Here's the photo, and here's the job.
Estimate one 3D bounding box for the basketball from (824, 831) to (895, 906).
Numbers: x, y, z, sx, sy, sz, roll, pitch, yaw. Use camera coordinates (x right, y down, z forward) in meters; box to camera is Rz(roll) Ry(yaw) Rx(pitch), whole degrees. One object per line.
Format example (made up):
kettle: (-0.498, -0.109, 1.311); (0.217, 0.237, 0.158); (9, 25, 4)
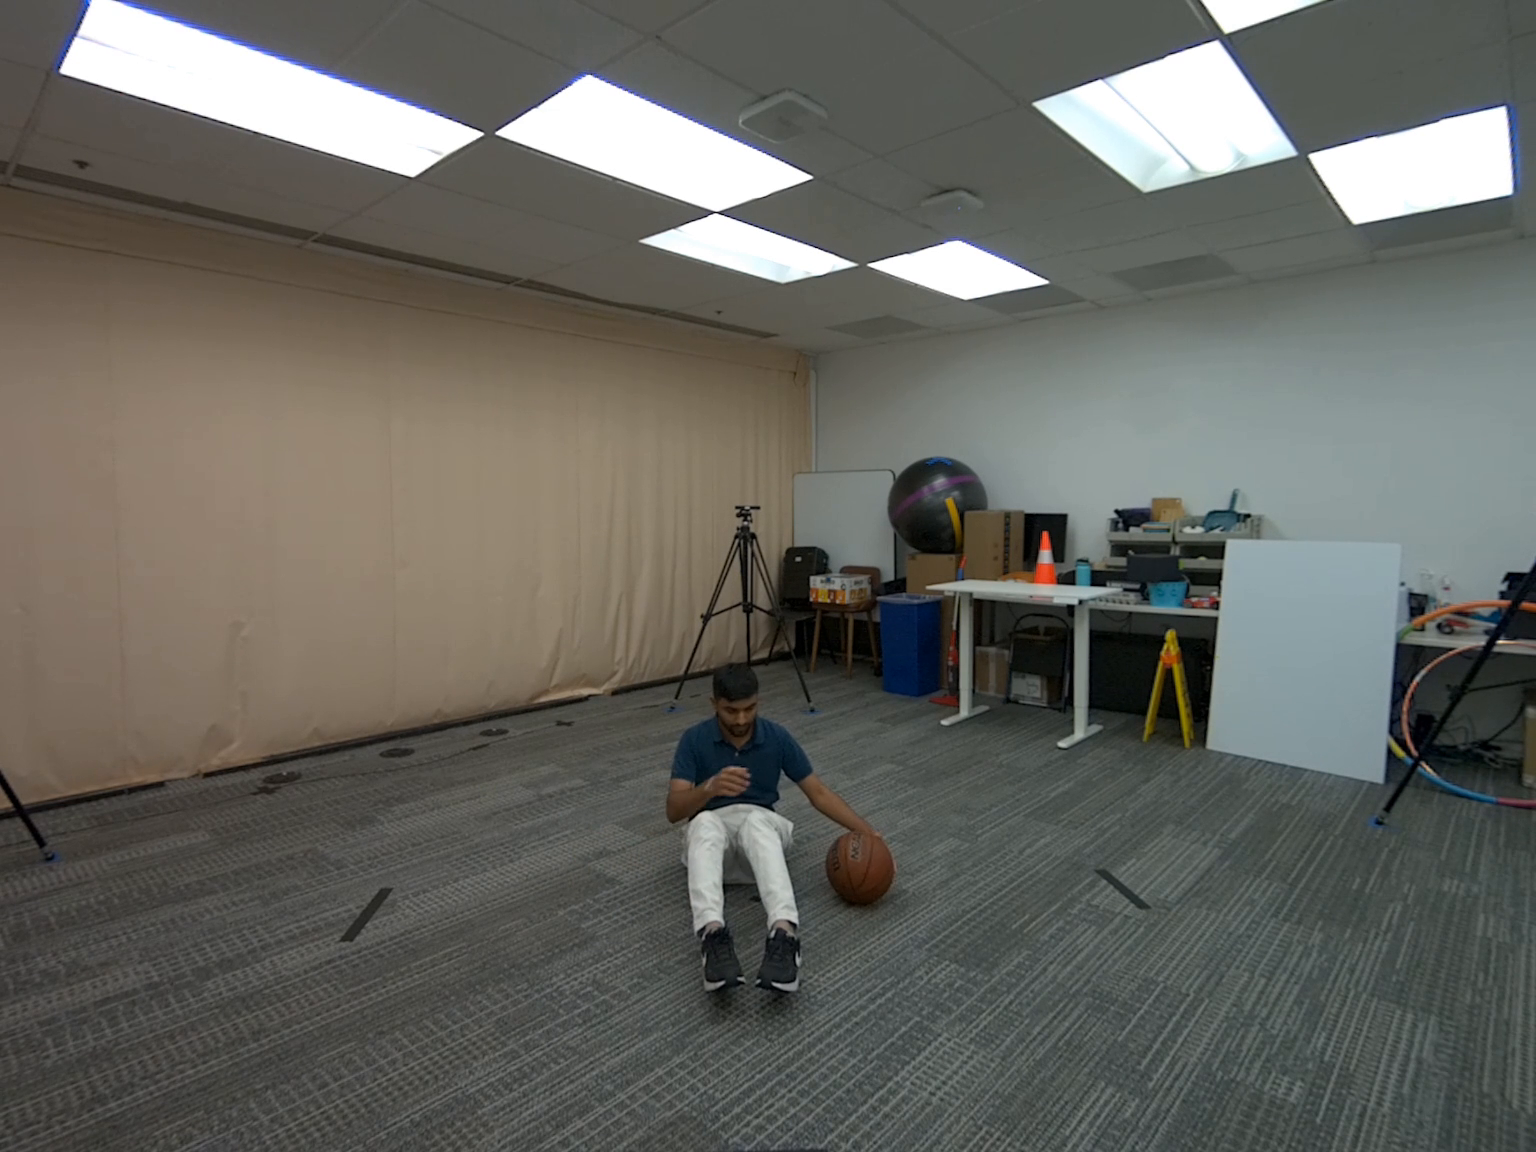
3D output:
basketball: (0.328, 1.024, 2.955); (0.236, 0.235, 0.237); (0, 4, -2)
